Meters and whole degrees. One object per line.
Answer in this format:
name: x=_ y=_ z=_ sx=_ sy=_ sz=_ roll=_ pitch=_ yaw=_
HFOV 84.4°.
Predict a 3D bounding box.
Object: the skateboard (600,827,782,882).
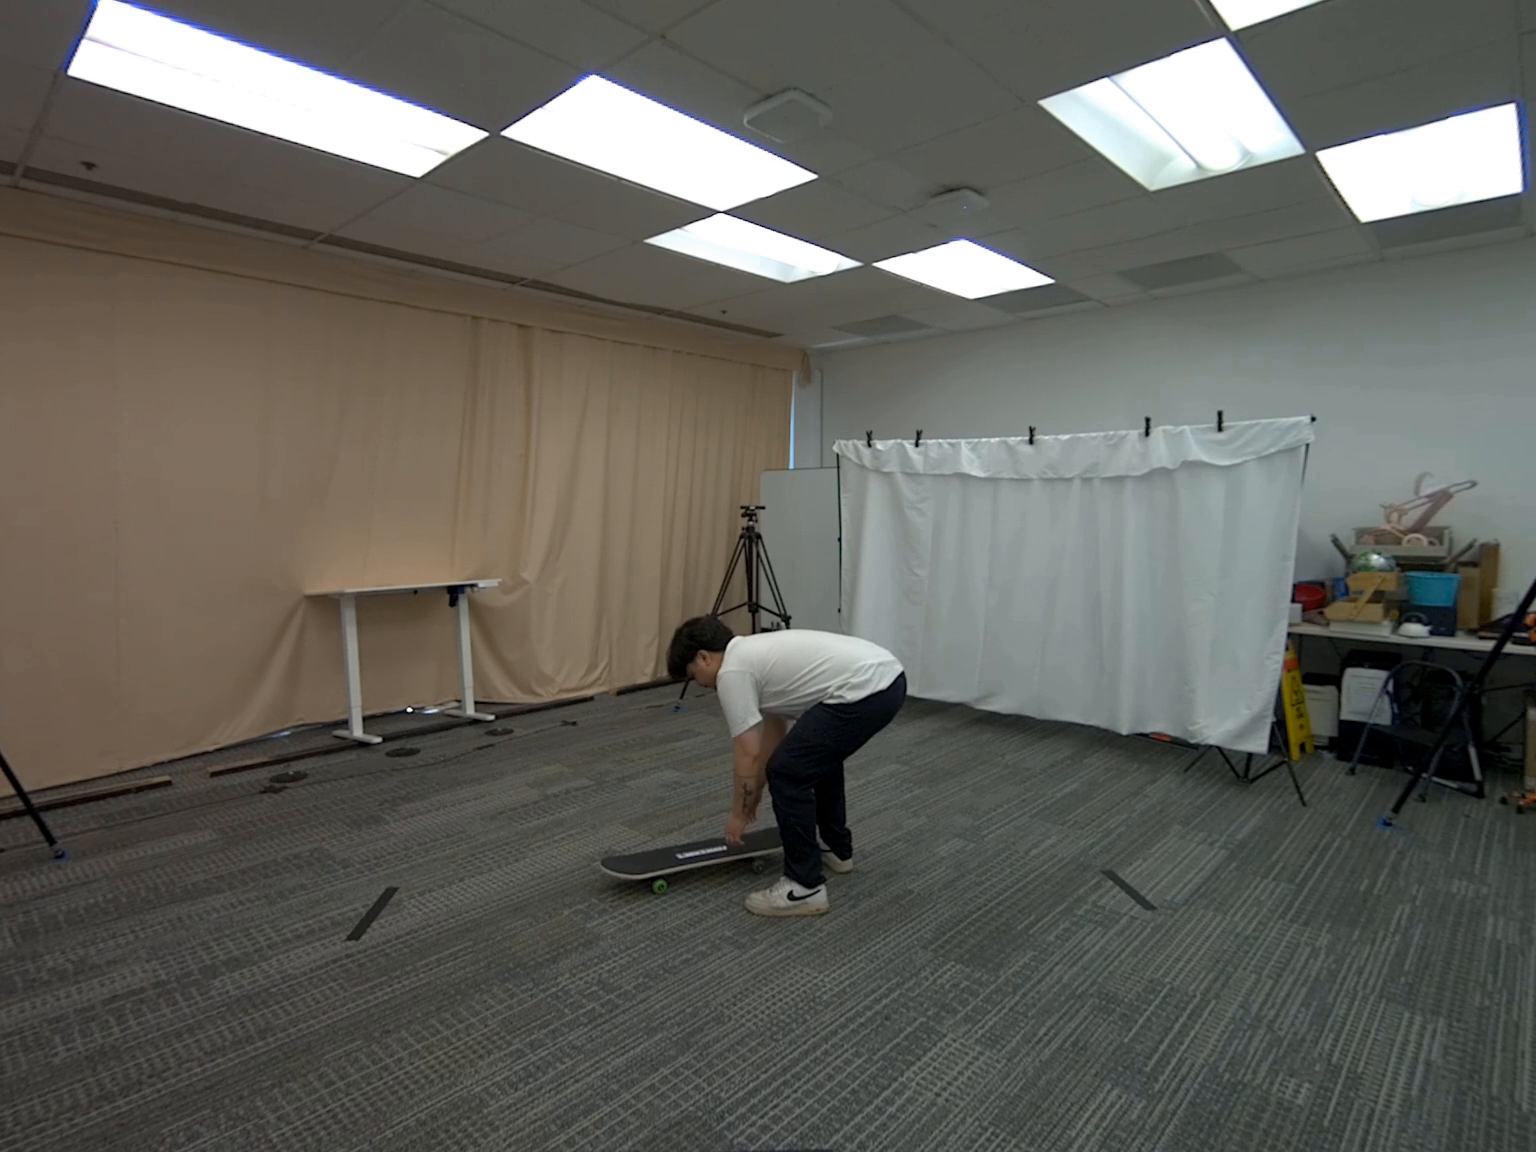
skateboard: x=-0.250 y=1.075 z=3.177 sx=0.768 sy=0.110 sz=0.198 roll=-2 pitch=4 yaw=-23
